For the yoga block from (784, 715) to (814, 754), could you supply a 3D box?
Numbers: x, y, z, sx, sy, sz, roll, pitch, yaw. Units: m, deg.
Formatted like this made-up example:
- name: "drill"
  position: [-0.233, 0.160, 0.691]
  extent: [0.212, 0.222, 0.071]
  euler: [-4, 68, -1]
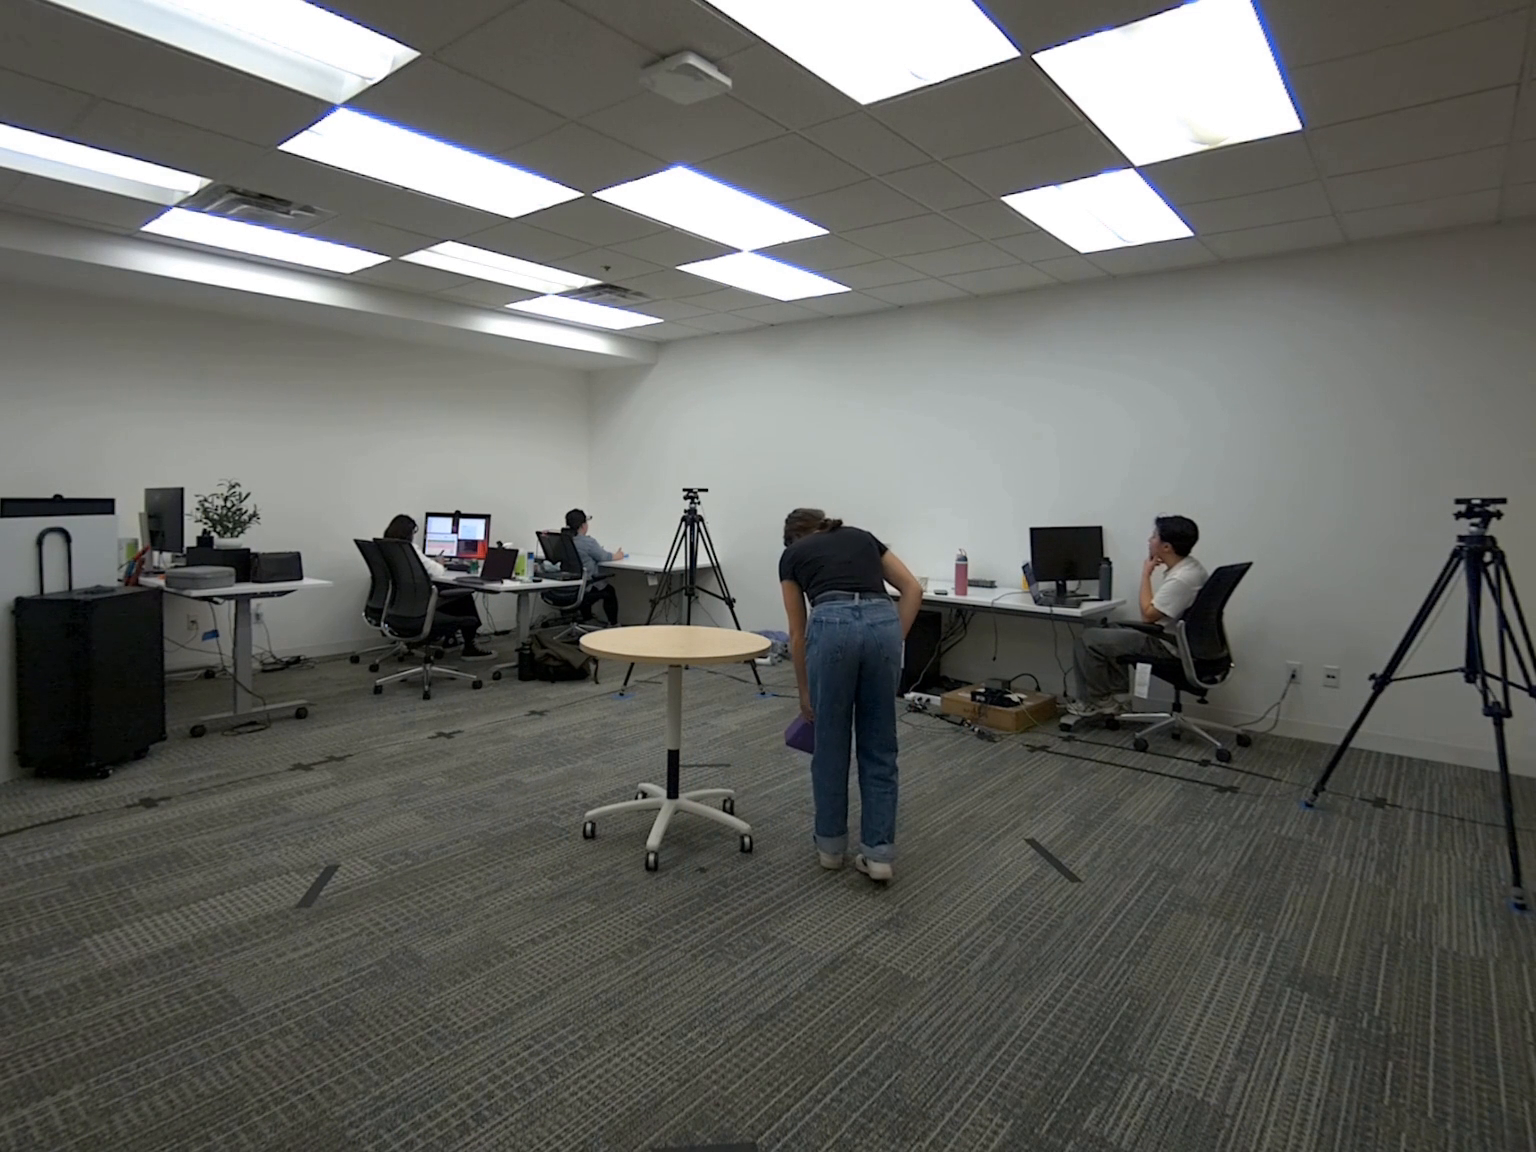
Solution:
- name: "yoga block"
  position: [0.191, 0.605, 3.457]
  extent: [0.146, 0.227, 0.078]
  euler: [17, 33, -13]
